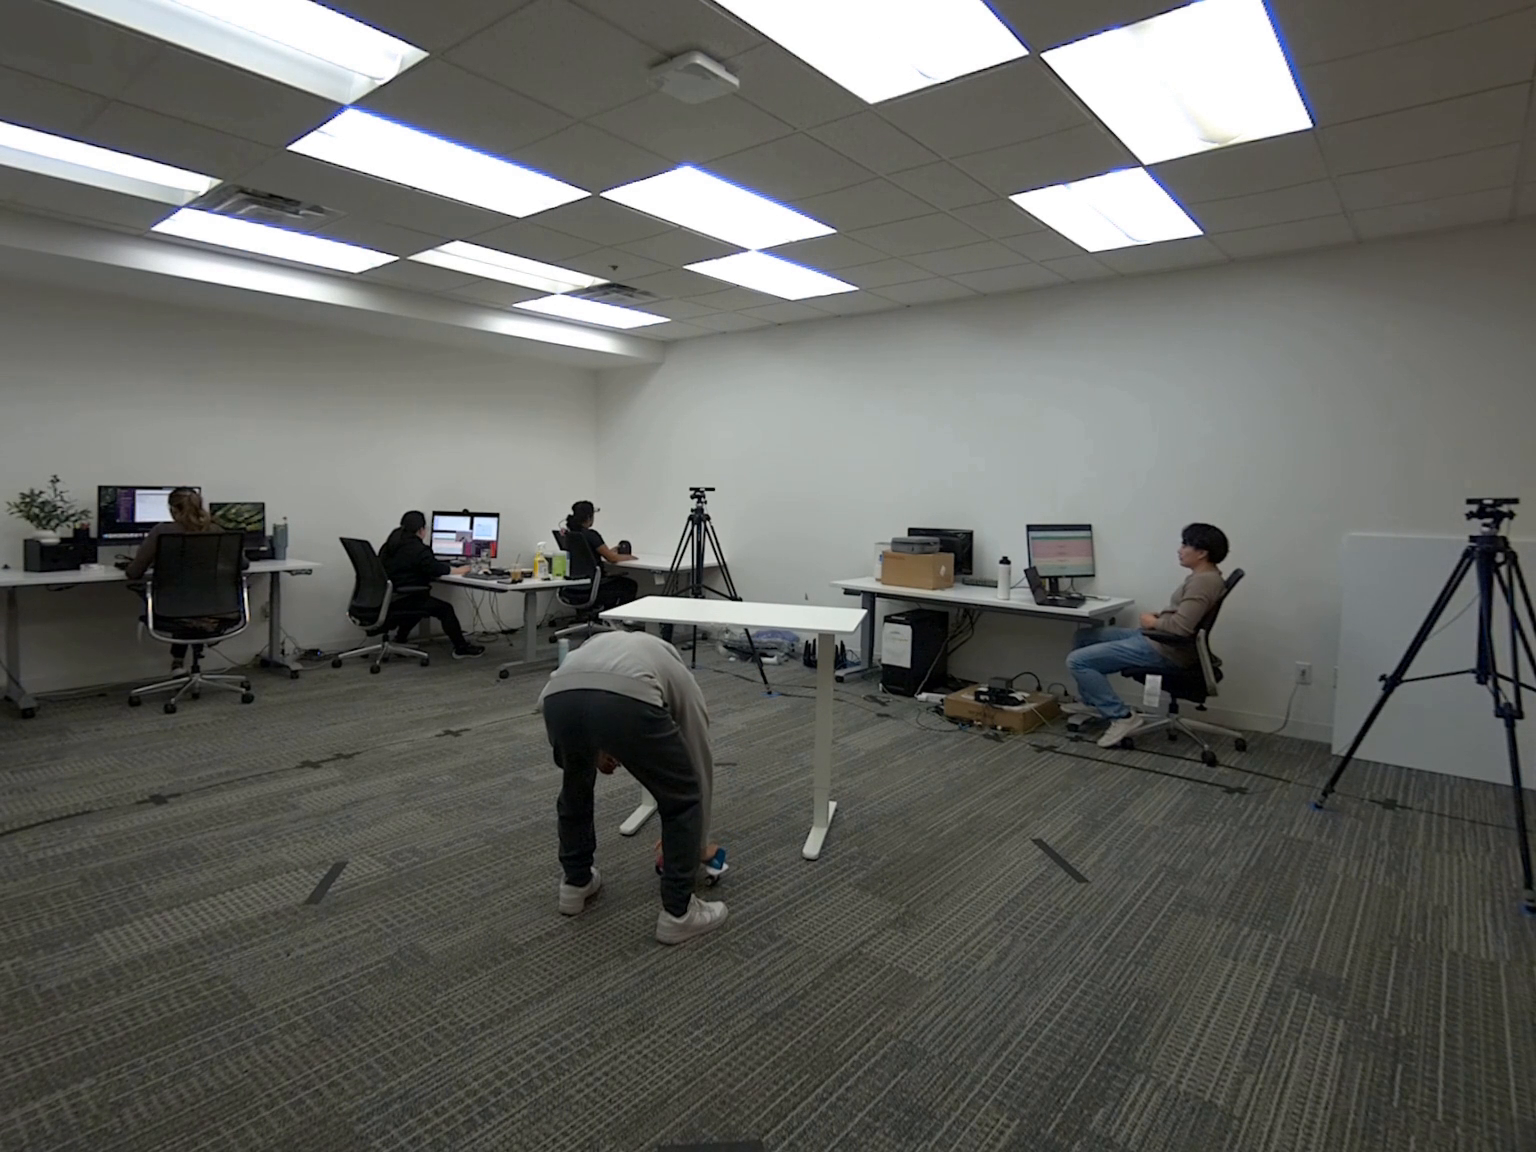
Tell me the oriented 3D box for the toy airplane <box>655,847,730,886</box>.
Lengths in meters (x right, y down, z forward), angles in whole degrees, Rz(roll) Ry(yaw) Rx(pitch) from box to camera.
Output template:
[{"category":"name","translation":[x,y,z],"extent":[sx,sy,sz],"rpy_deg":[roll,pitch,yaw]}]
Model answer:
[{"category":"toy airplane","translation":[-0.272,0.994,3.042],"extent":[0.258,0.157,0.252],"rpy_deg":[4,-2,-5]}]
